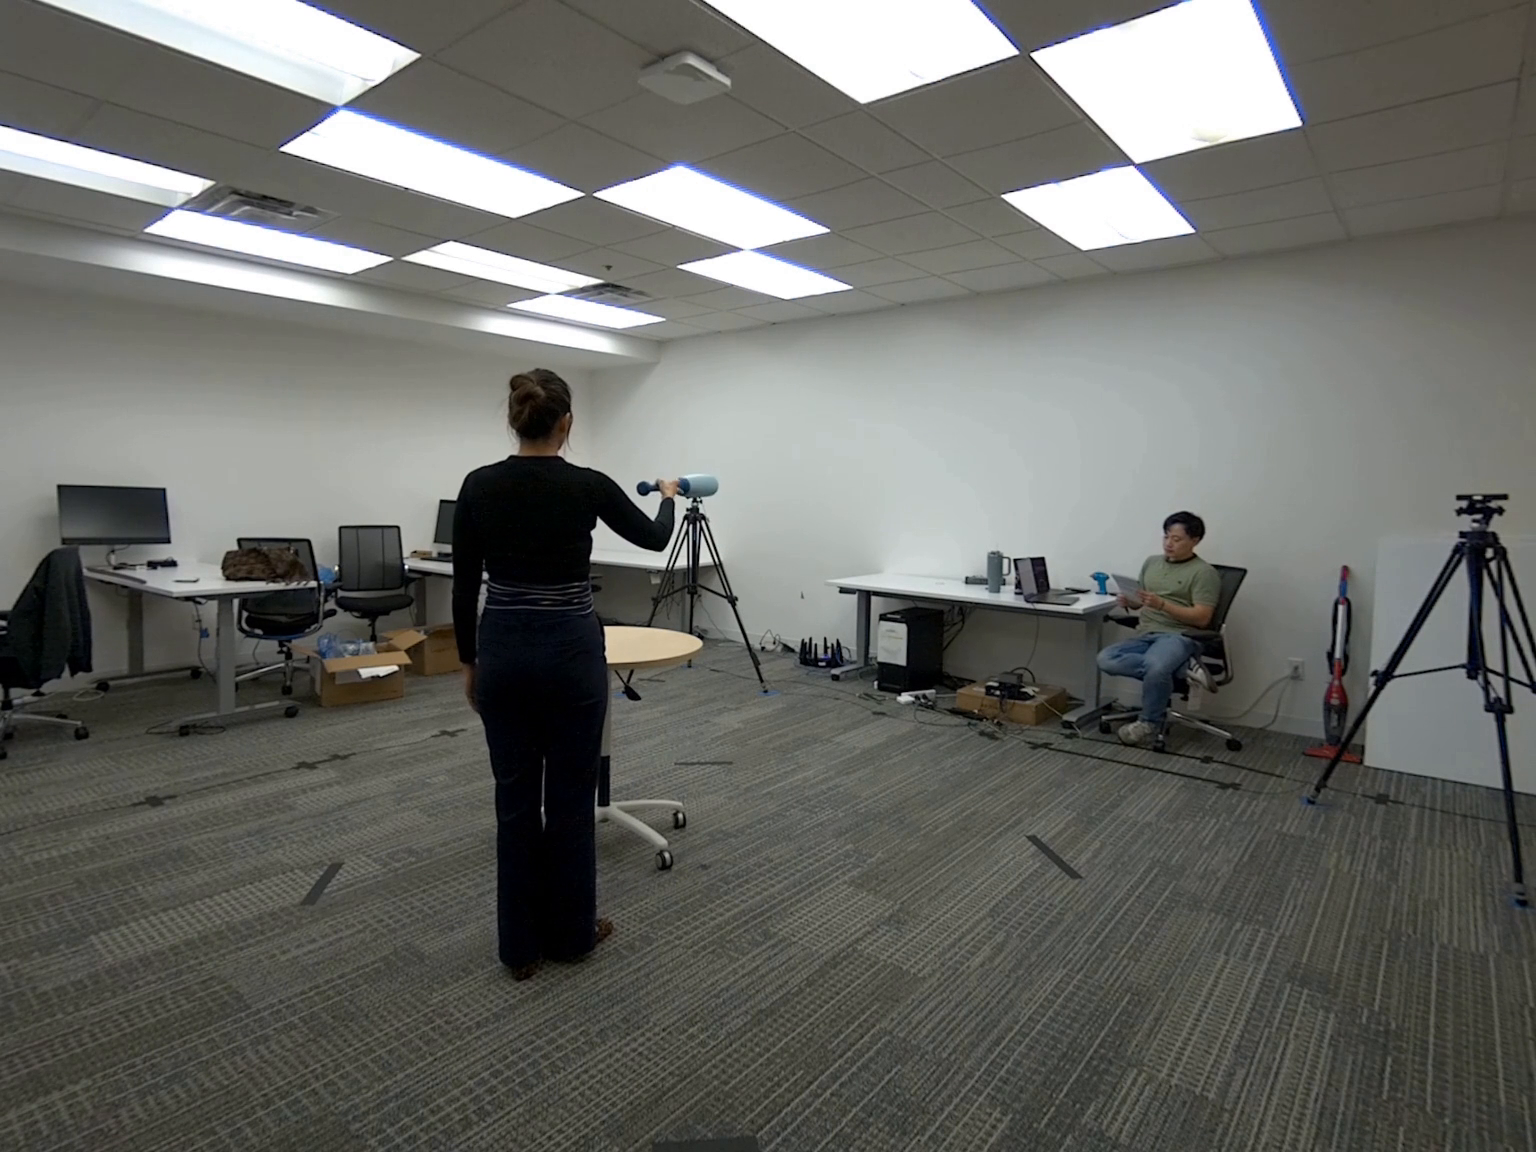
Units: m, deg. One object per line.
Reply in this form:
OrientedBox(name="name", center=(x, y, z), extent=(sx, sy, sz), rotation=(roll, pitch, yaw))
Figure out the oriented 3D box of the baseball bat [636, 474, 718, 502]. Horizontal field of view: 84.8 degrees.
OrientedBox(name="baseball bat", center=(-0.326, -0.320, 3.031), extent=(0.091, 0.088, 0.534), rotation=(2, 7, 19))
